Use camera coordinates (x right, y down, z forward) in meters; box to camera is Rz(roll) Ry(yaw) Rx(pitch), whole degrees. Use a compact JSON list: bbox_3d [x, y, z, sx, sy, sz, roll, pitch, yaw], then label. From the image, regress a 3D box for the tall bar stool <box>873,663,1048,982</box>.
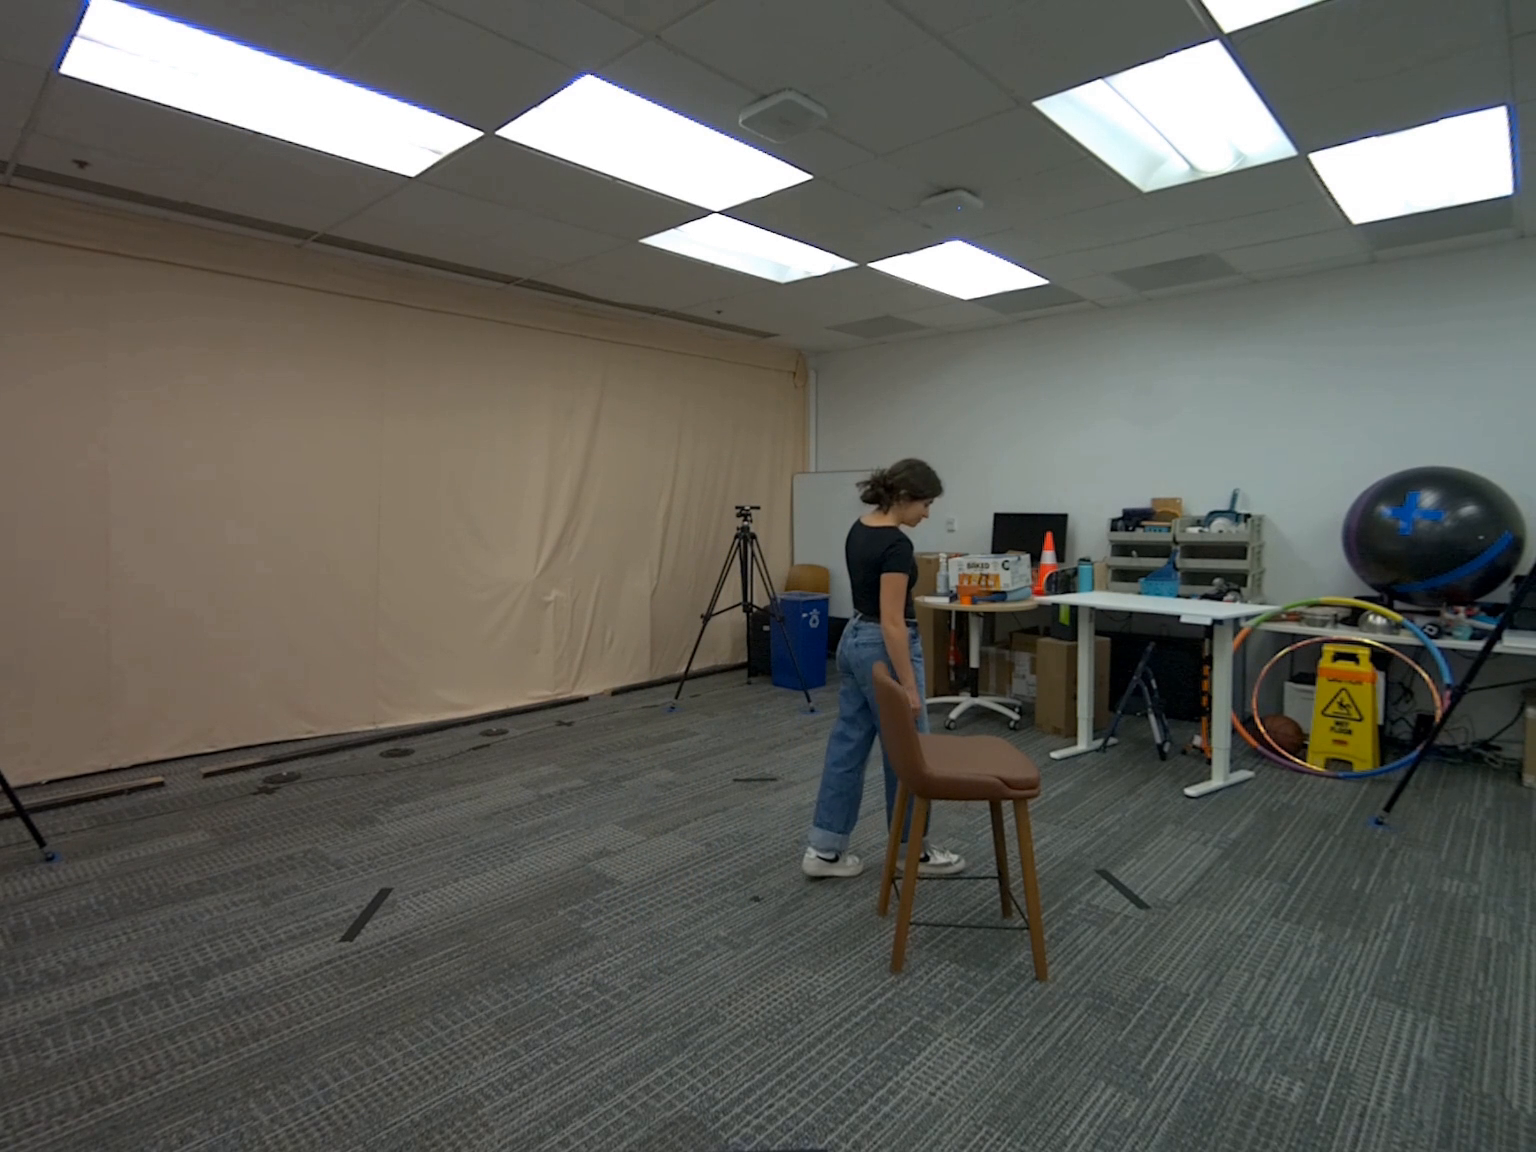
[{"bbox_3d":[0.599,0.735,2.654,0.470,0.888,0.455,-2,3,3],"label":"tall bar stool"}]
